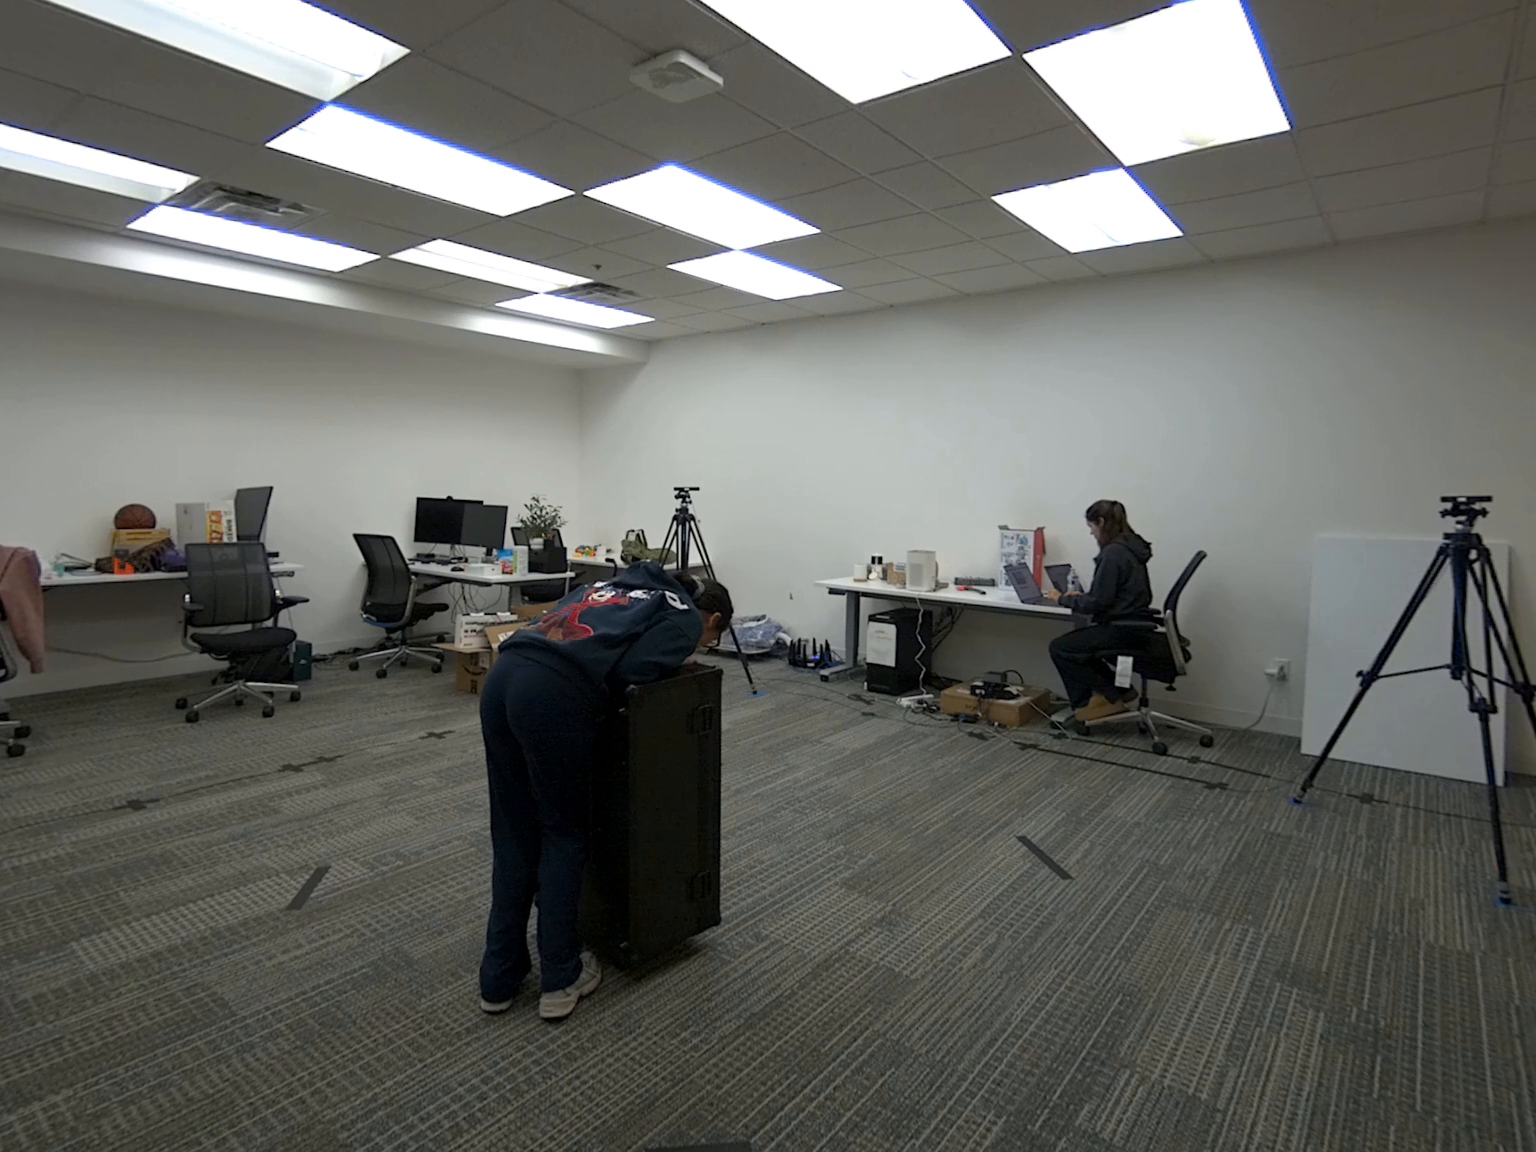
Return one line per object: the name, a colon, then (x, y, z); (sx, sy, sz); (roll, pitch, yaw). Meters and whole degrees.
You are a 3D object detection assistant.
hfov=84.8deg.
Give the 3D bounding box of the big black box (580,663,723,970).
big black box: (-0.446, 0.691, 2.594); (0.539, 0.858, 0.384); (5, 6, 44)
